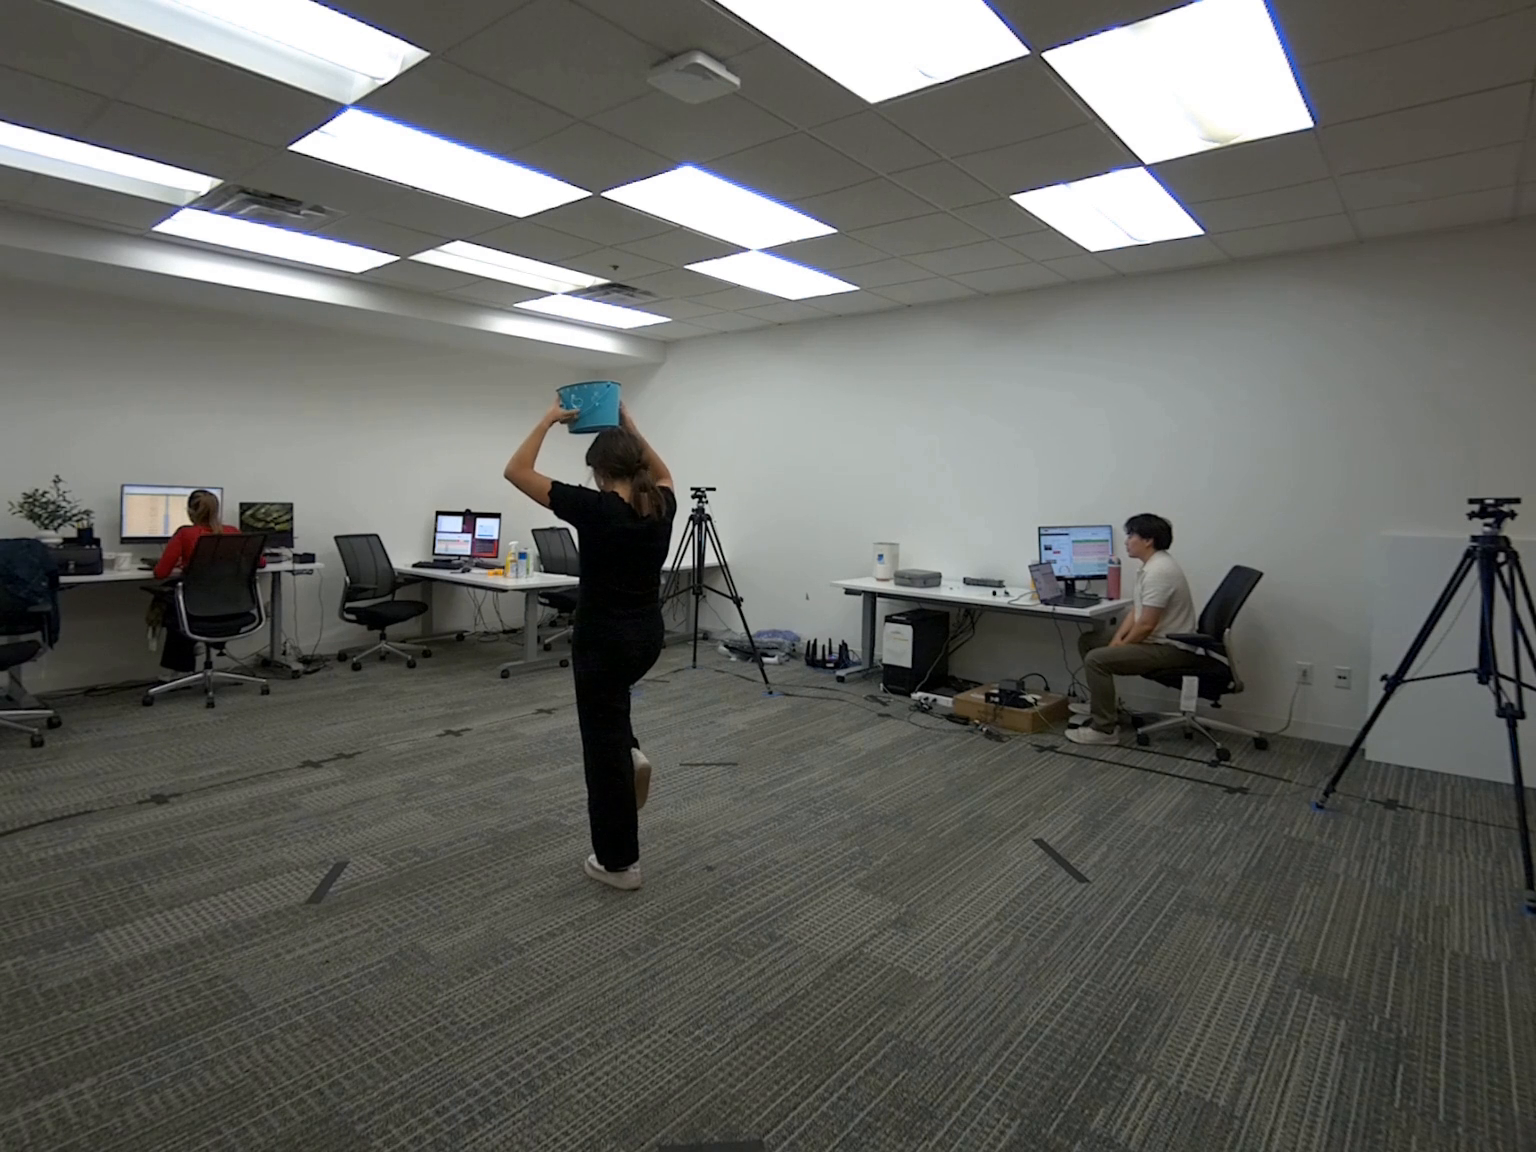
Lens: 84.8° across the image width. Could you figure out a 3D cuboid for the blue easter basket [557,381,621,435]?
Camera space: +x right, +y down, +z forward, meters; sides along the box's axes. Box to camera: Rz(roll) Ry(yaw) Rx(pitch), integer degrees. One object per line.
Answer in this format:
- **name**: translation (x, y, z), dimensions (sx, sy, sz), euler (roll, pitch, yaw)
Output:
- **blue easter basket**: translation (-0.650, -0.600, 3.031), dimensions (0.243, 0.156, 0.244), euler (-6, 1, -2)
